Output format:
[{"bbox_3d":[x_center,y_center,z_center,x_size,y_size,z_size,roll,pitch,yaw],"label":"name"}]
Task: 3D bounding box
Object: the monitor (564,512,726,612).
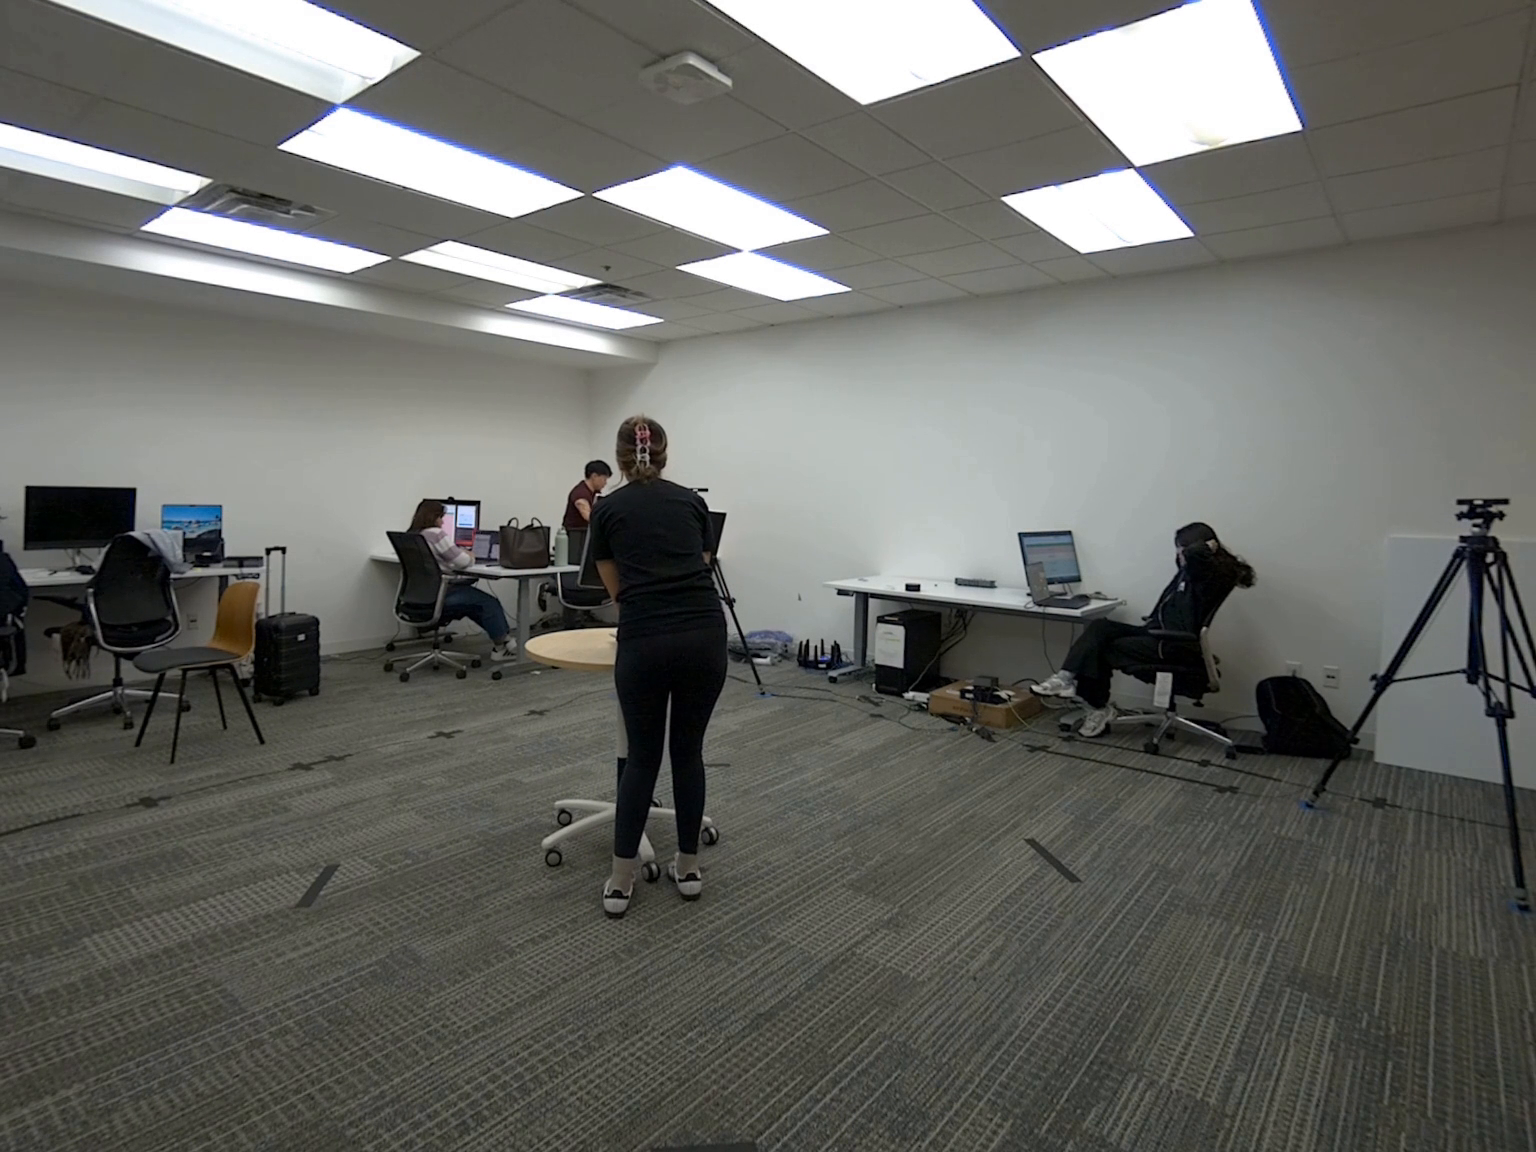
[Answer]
[{"bbox_3d":[-0.455,-0.016,3.320,0.523,0.522,0.193,5,1,-32],"label":"monitor"}]
